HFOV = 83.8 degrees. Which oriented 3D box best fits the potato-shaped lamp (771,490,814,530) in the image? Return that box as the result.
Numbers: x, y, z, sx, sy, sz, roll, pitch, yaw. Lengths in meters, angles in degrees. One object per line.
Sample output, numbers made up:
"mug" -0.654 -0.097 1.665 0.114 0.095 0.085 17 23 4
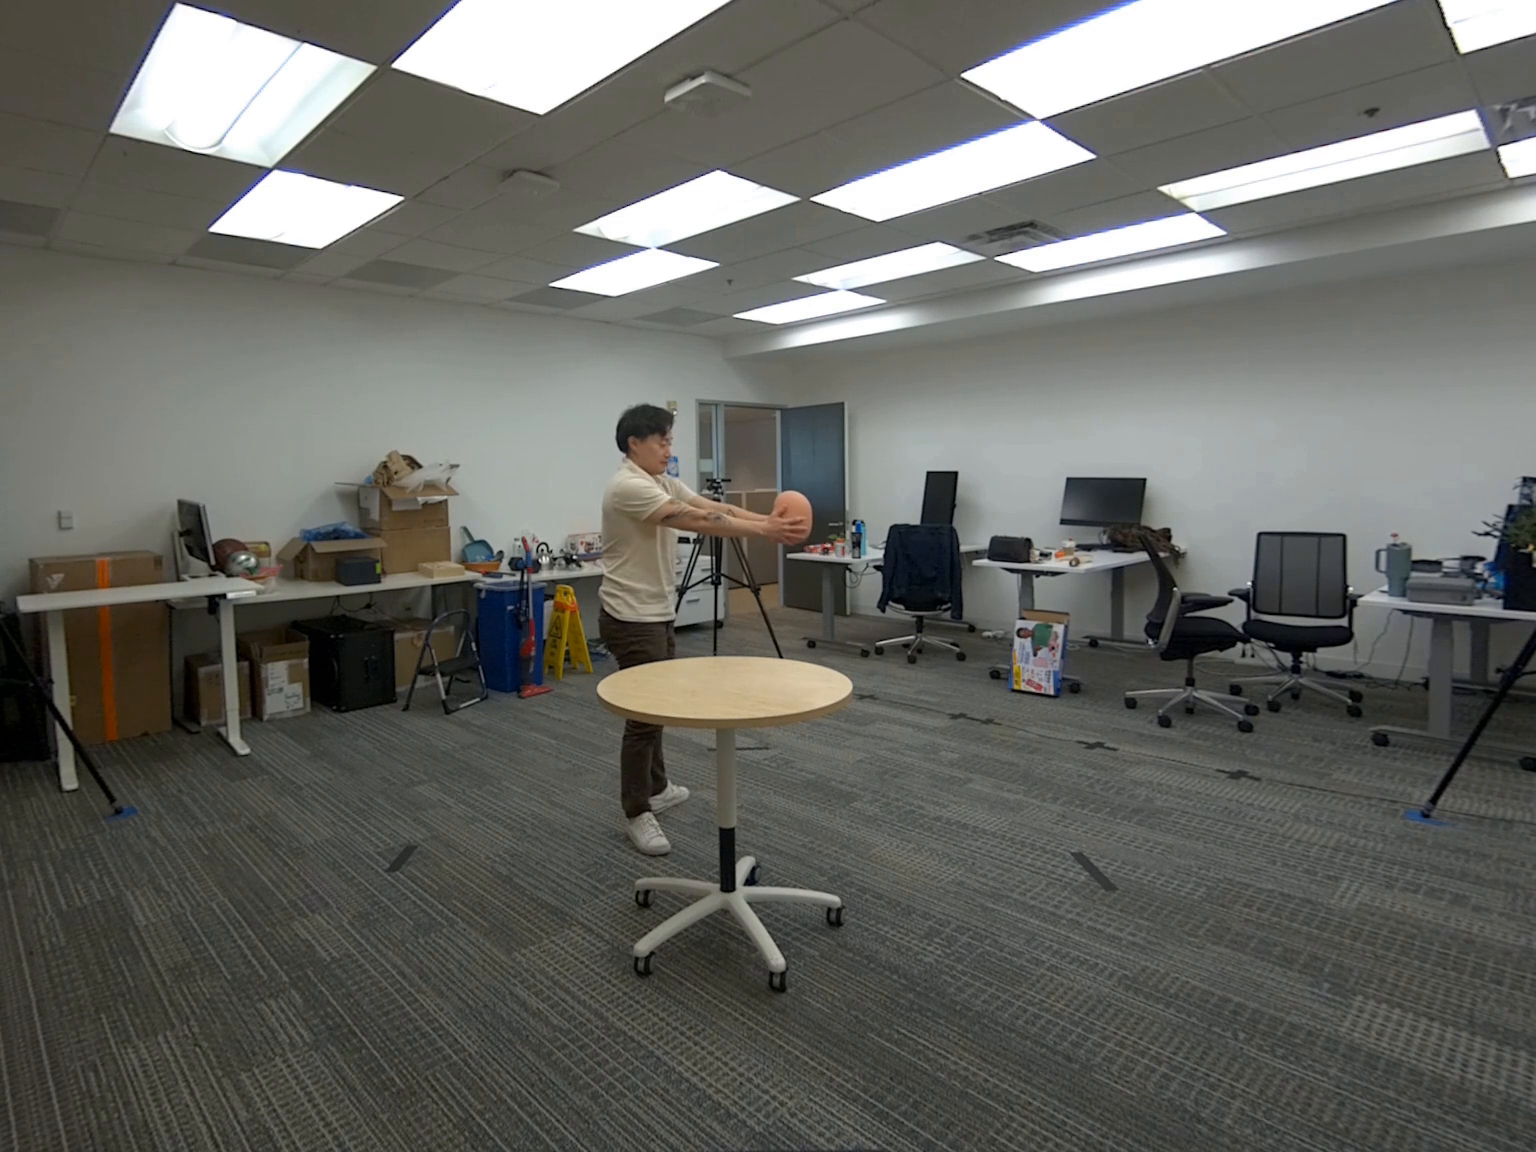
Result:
"potato-shaped lamp" 0.069 -0.222 3.244 0.174 0.197 0.163 5 8 12
